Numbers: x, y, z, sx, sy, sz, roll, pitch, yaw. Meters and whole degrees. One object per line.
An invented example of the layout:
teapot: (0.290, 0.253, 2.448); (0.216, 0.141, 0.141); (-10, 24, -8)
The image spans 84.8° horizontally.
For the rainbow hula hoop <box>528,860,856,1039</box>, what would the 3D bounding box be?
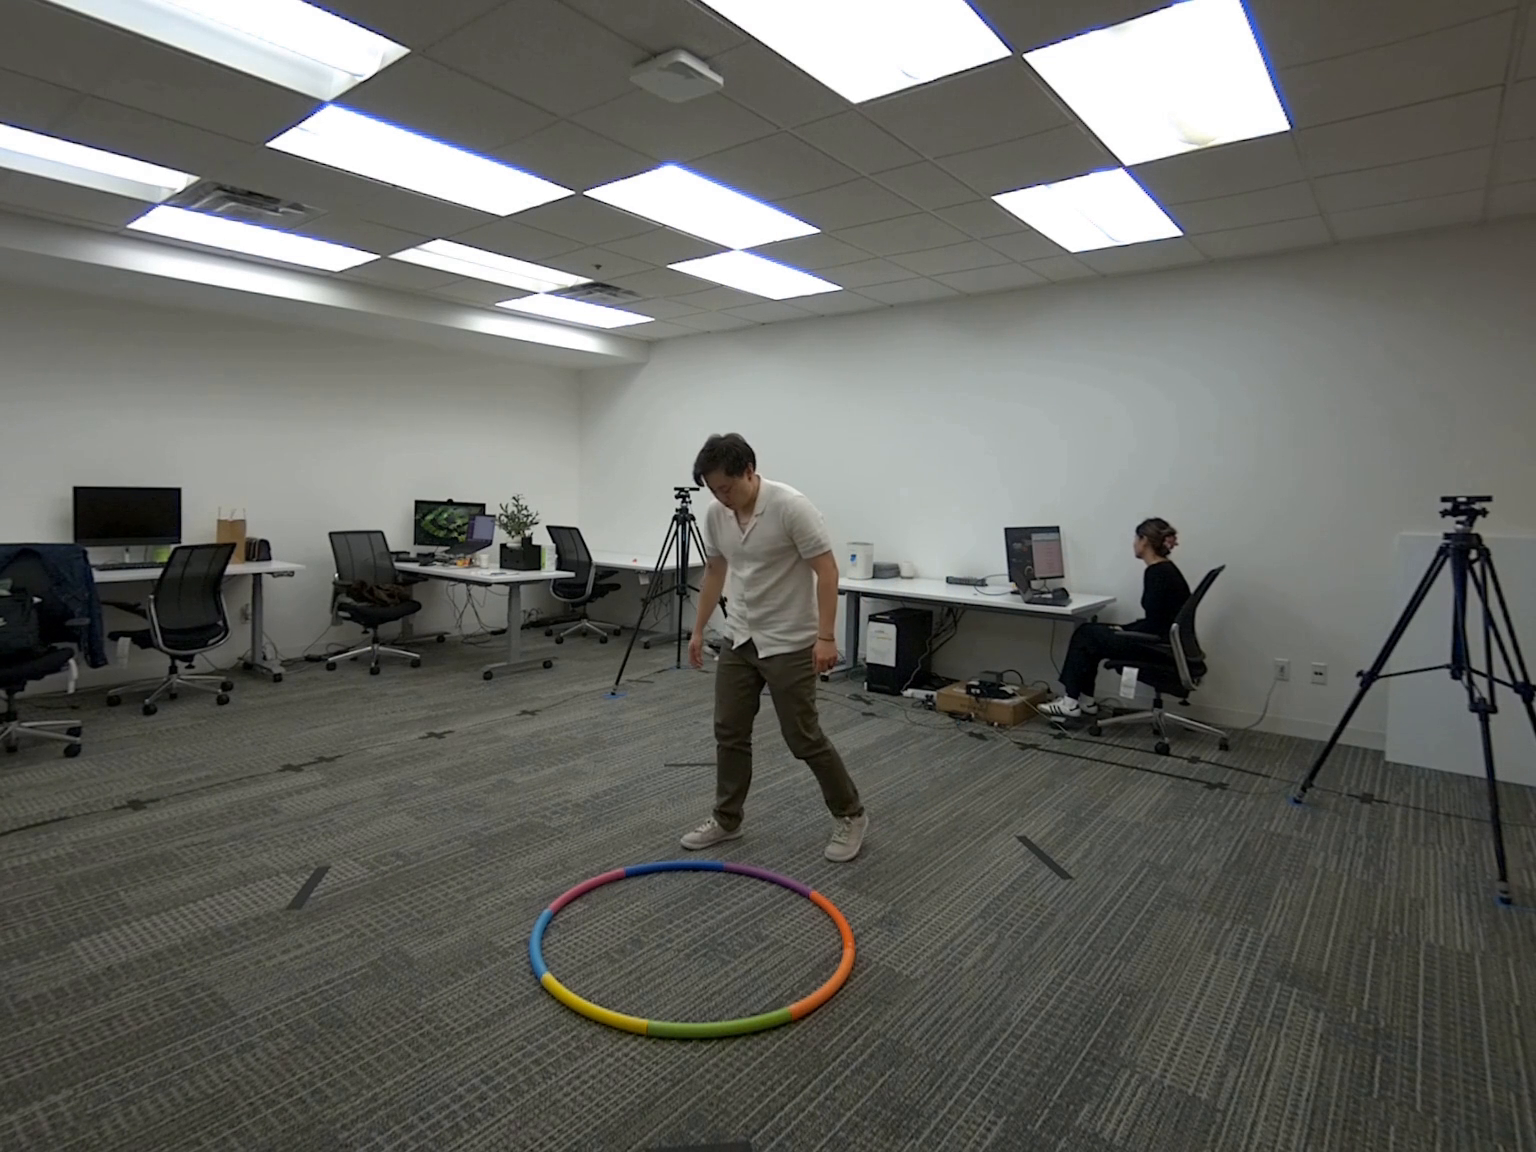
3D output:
rainbow hula hoop: (-0.238, 1.083, 2.627); (0.978, 0.035, 0.984); (1, 6, -2)
